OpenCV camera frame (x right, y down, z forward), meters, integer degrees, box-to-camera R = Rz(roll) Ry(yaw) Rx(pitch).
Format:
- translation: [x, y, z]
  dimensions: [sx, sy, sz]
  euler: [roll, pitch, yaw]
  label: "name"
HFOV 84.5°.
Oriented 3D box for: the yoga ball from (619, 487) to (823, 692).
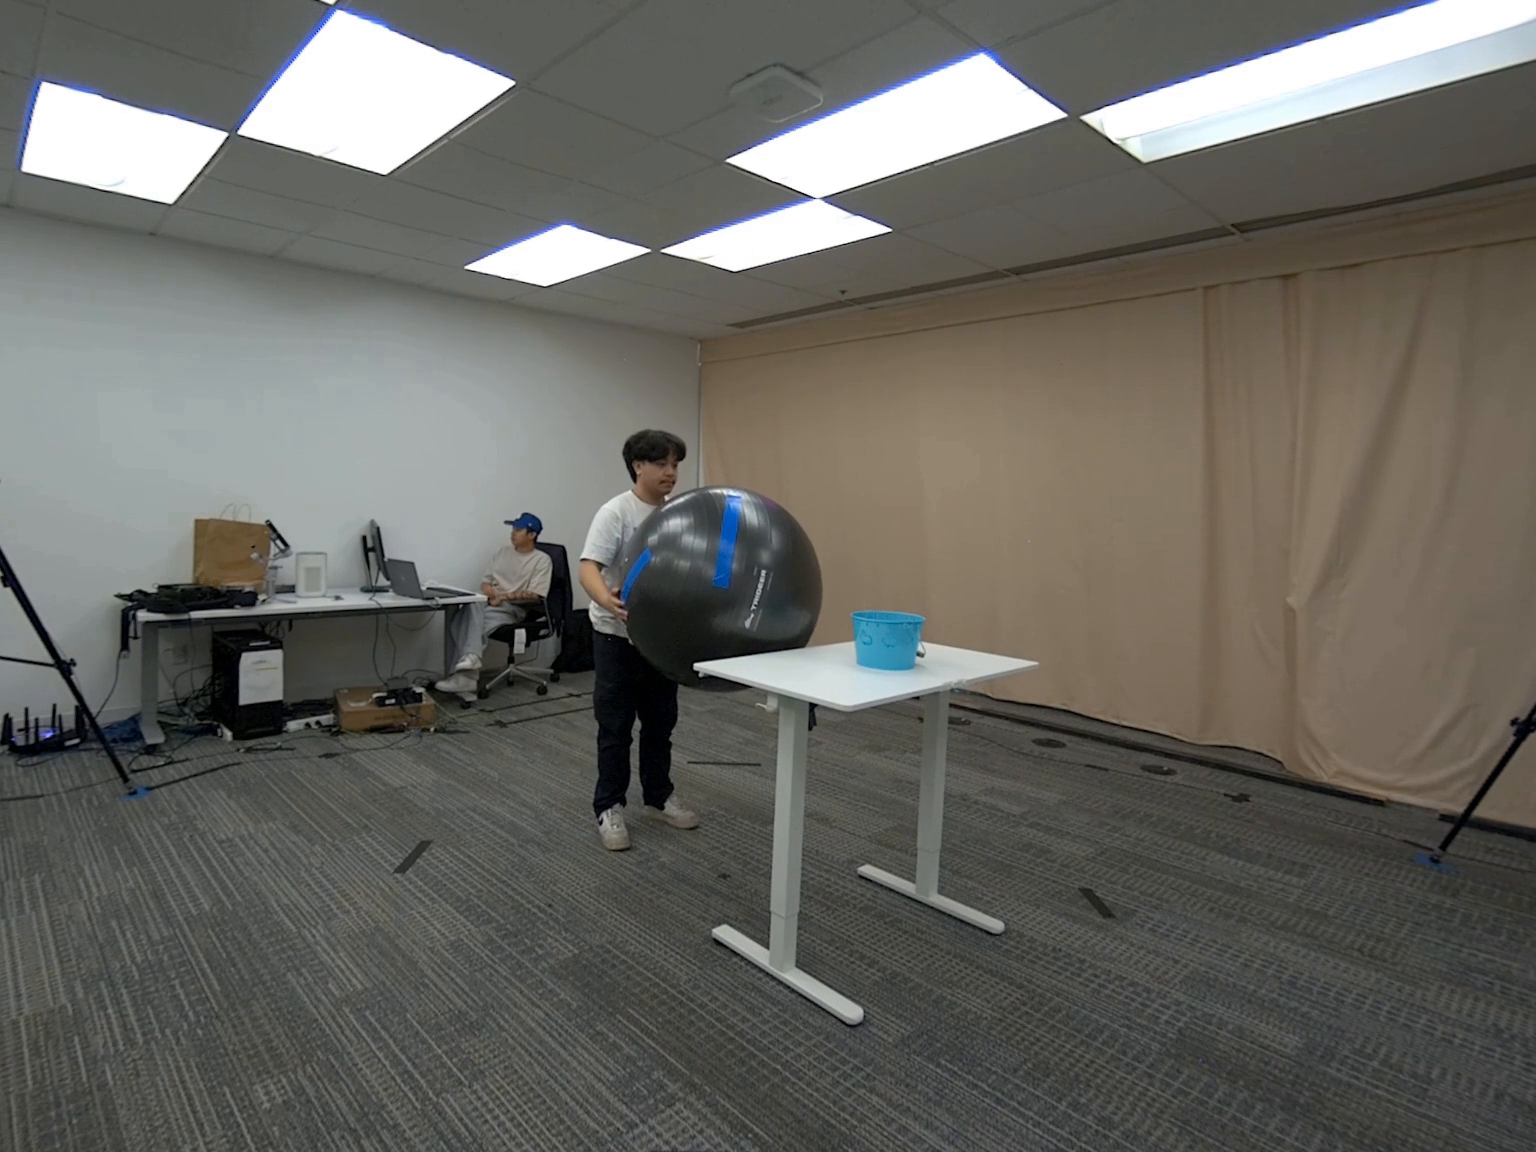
- translation: [-0.185, 0.055, 3.110]
  dimensions: [0.757, 0.756, 0.761]
  euler: [1, 4, -1]
  label: "yoga ball"
